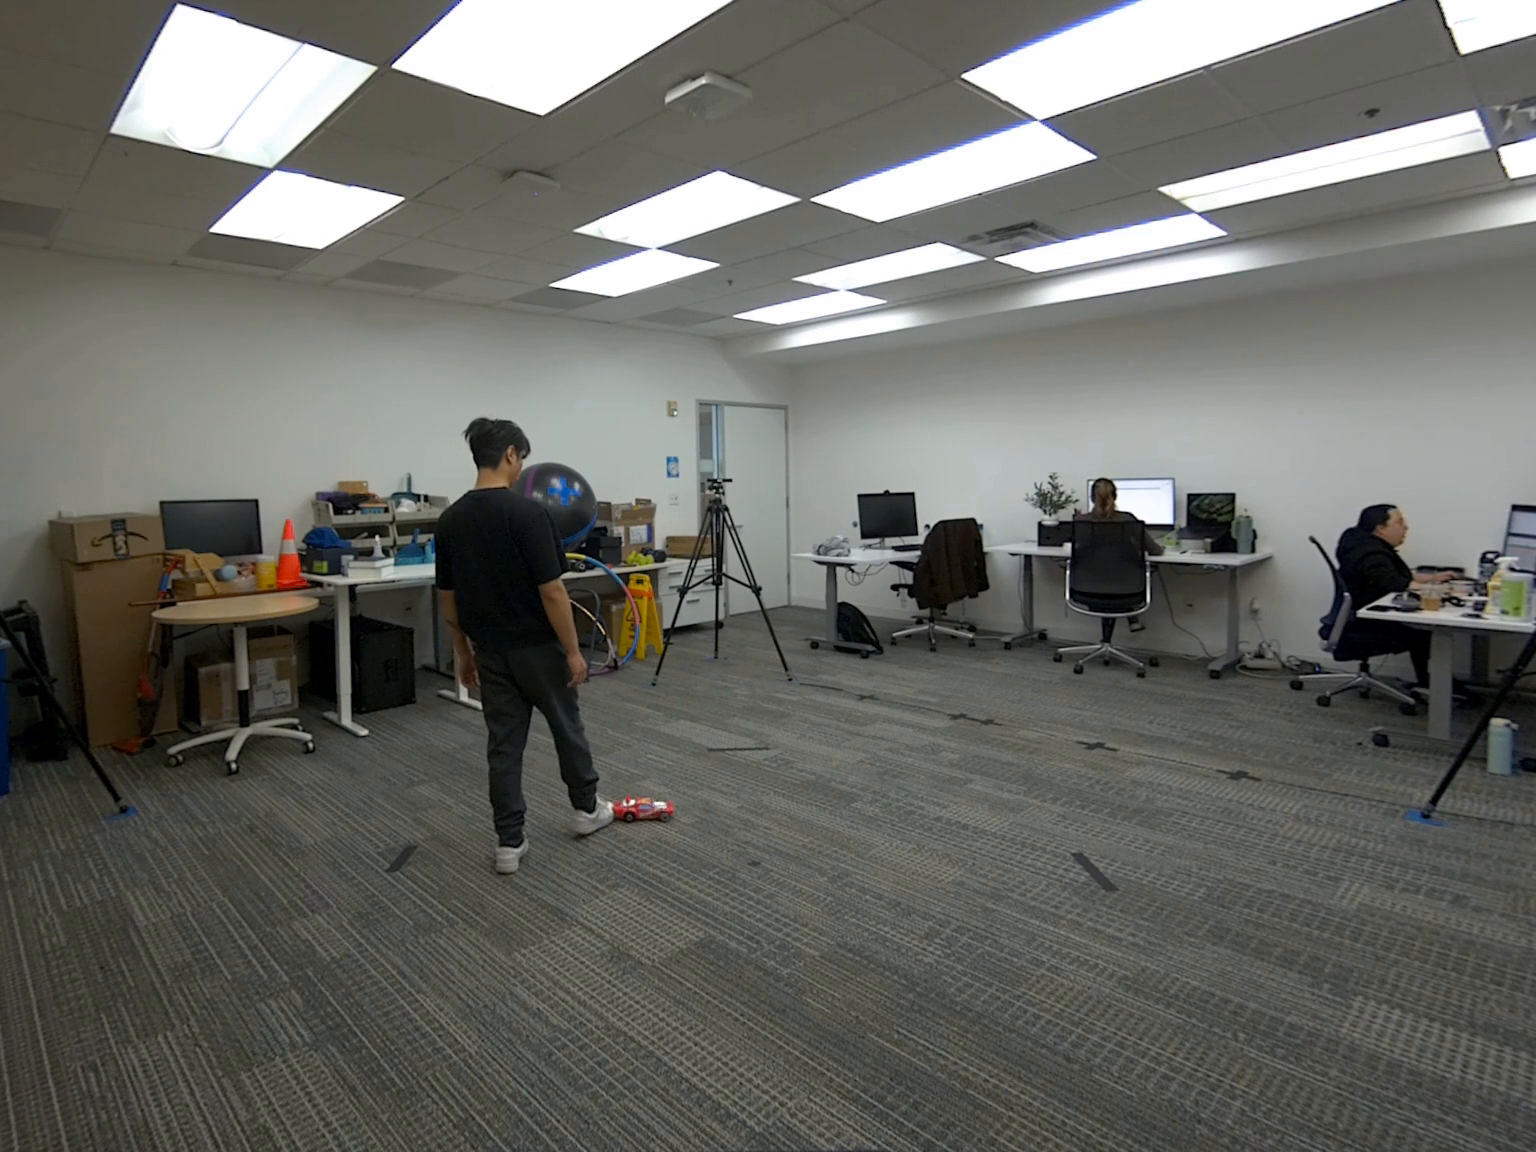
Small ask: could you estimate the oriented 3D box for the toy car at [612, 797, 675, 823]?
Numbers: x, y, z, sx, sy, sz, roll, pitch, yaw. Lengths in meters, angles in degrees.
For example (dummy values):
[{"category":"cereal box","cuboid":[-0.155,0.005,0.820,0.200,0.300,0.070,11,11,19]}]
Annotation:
[{"category":"toy car","cuboid":[-0.522,0.973,3.550,0.254,0.083,0.131,11,3,-3]}]
